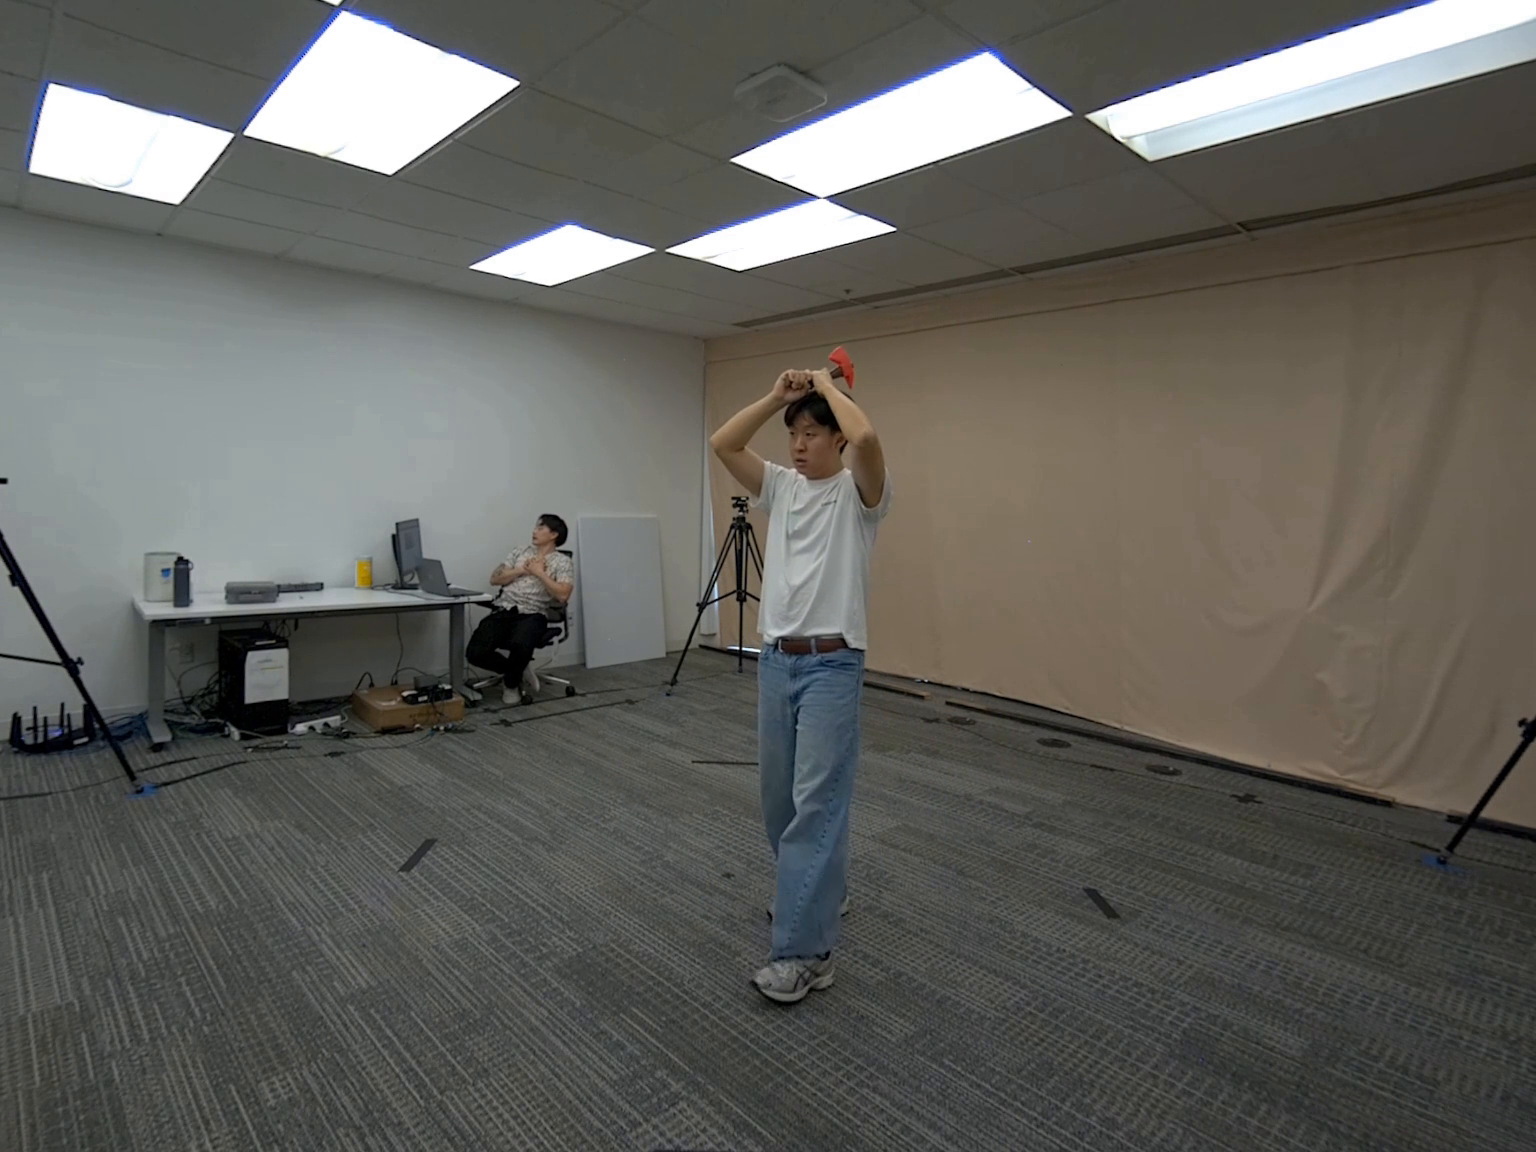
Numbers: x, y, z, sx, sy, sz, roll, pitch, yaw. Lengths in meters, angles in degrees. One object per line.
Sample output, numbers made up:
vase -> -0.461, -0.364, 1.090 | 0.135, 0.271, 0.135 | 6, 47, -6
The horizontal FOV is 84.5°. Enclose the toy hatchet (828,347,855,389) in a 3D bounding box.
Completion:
toy hatchet -> 0.156, -0.646, 2.606 | 0.265, 0.130, 0.030 | -7, 9, -34
